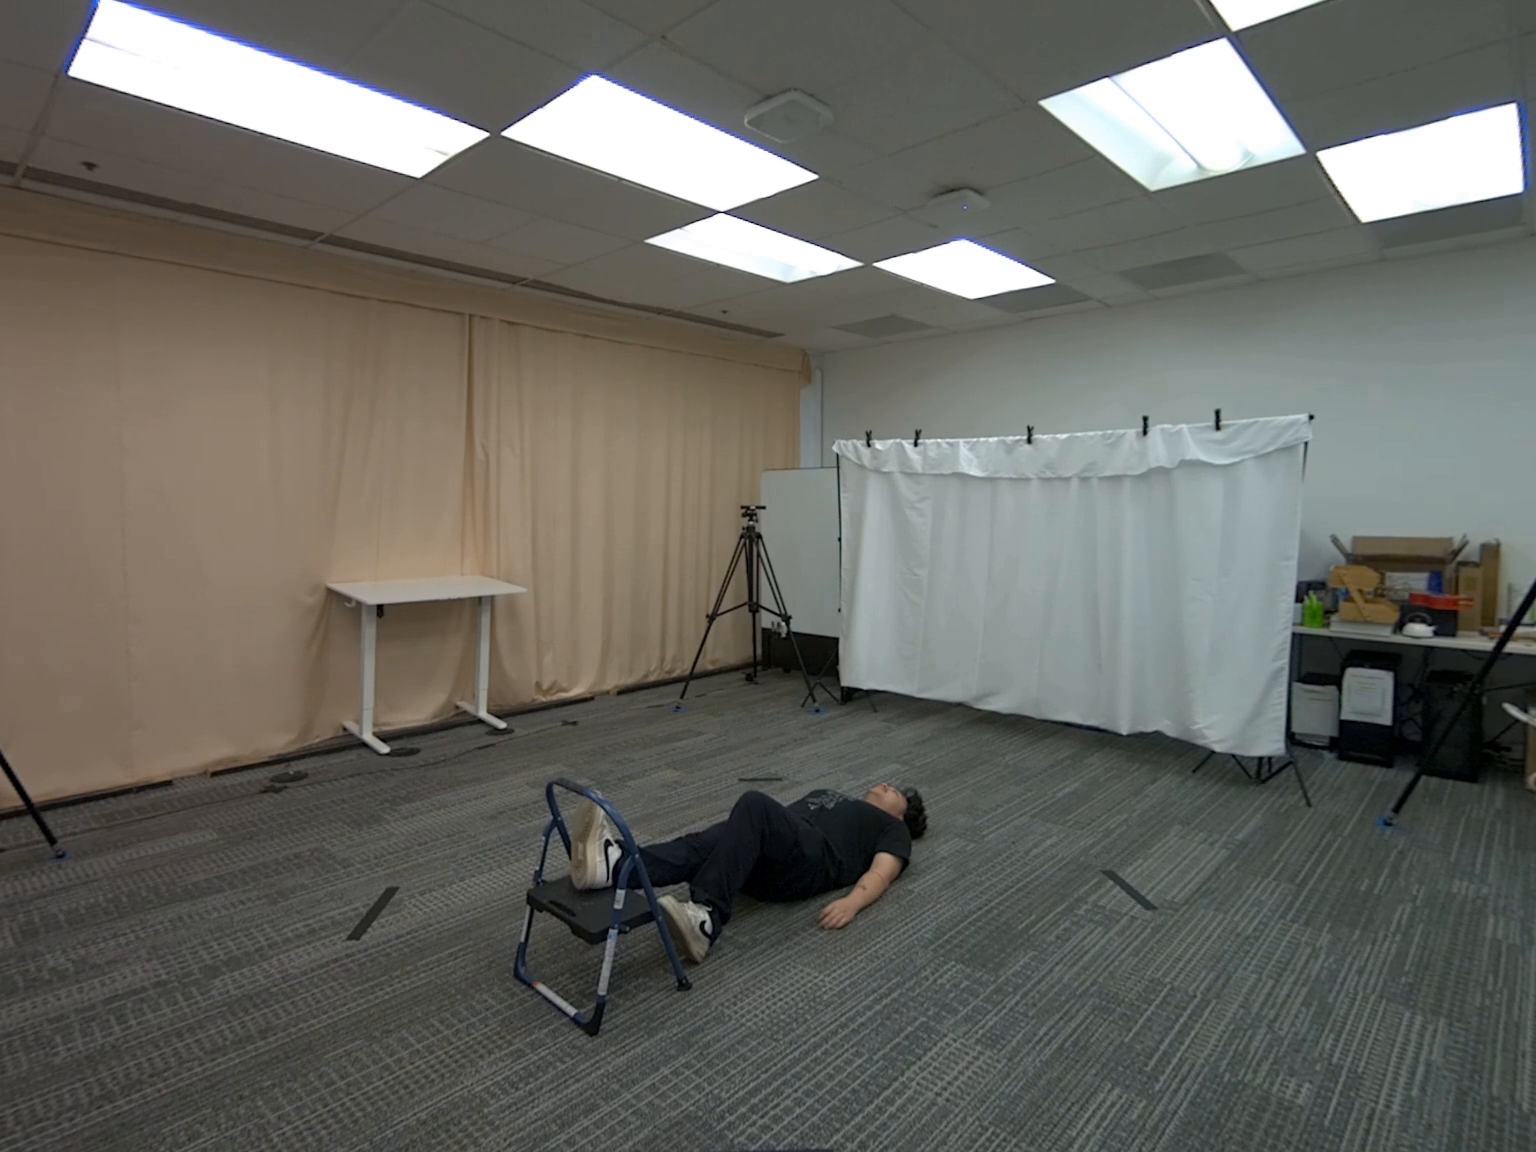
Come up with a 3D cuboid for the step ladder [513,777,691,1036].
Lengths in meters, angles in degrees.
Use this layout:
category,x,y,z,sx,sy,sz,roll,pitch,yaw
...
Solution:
category,x,y,z,sx,sy,sz,roll,pitch,yaw
step ladder,-0.498,0.894,2.450,0.445,0.605,0.338,2,4,44
